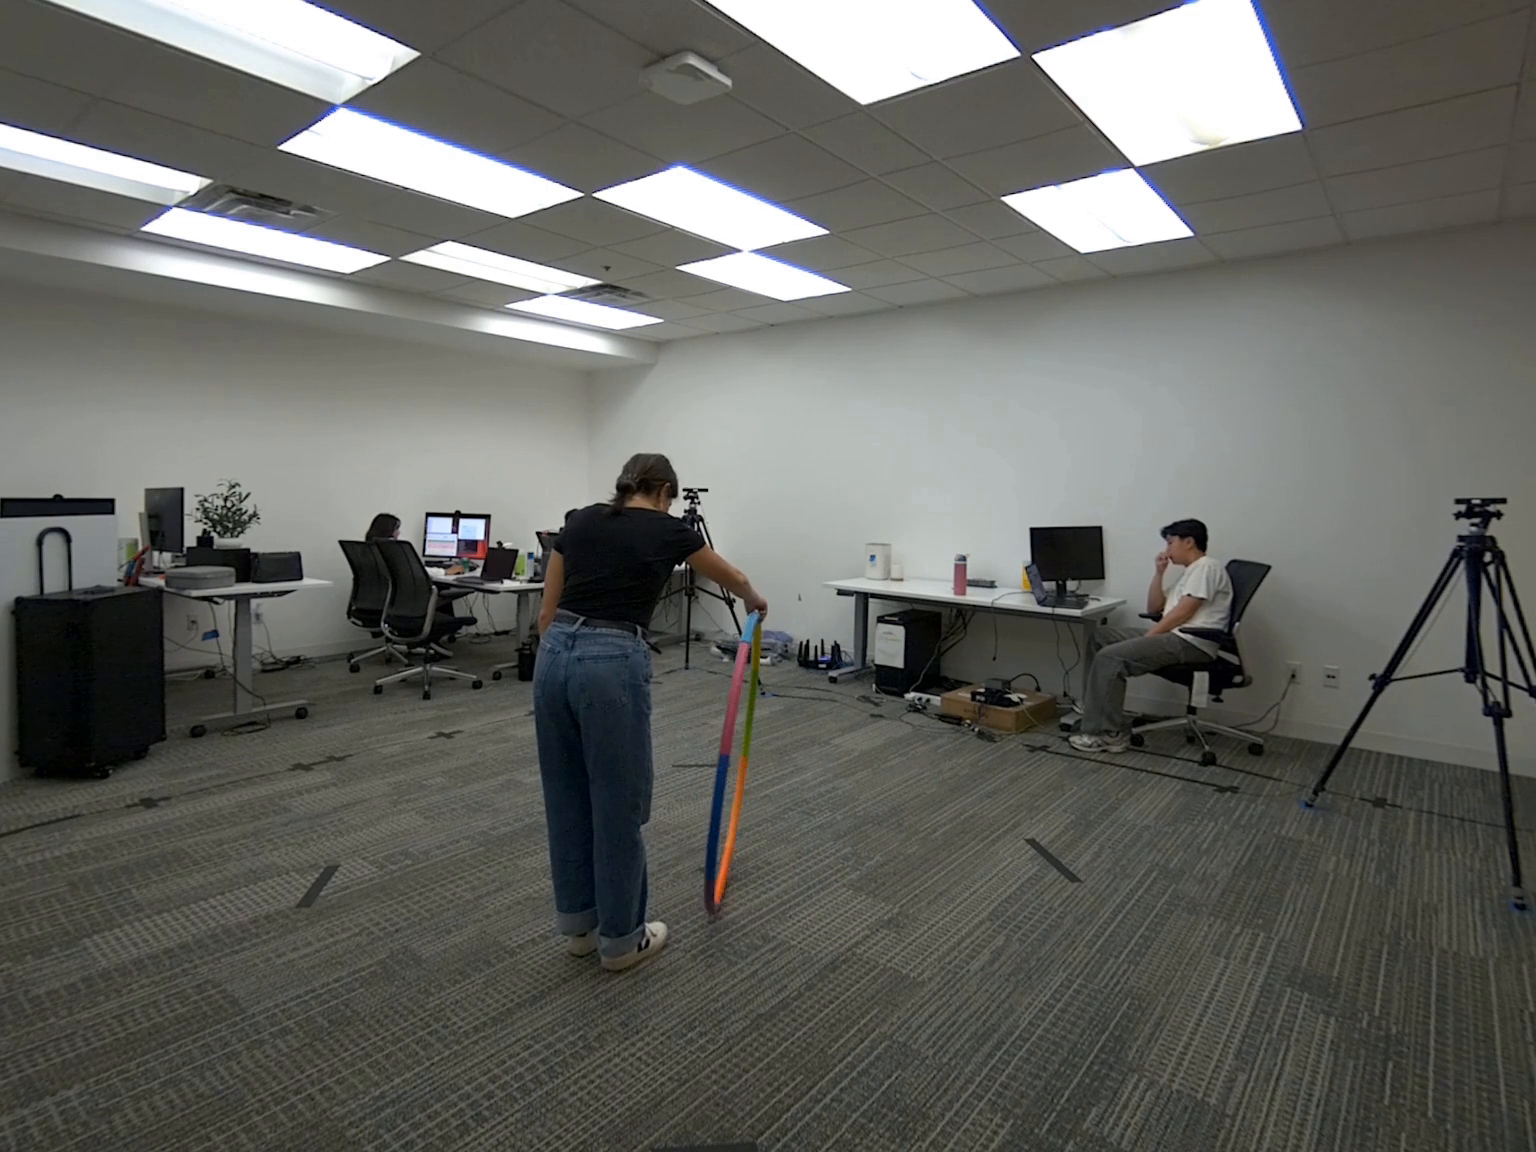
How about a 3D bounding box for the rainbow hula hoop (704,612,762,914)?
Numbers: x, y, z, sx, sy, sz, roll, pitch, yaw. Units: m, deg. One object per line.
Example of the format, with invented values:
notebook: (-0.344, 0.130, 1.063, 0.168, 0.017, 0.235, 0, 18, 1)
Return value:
rainbow hula hoop: (-0.110, 0.604, 2.869, 0.036, 0.975, 0.976, 8, 5, 3)
